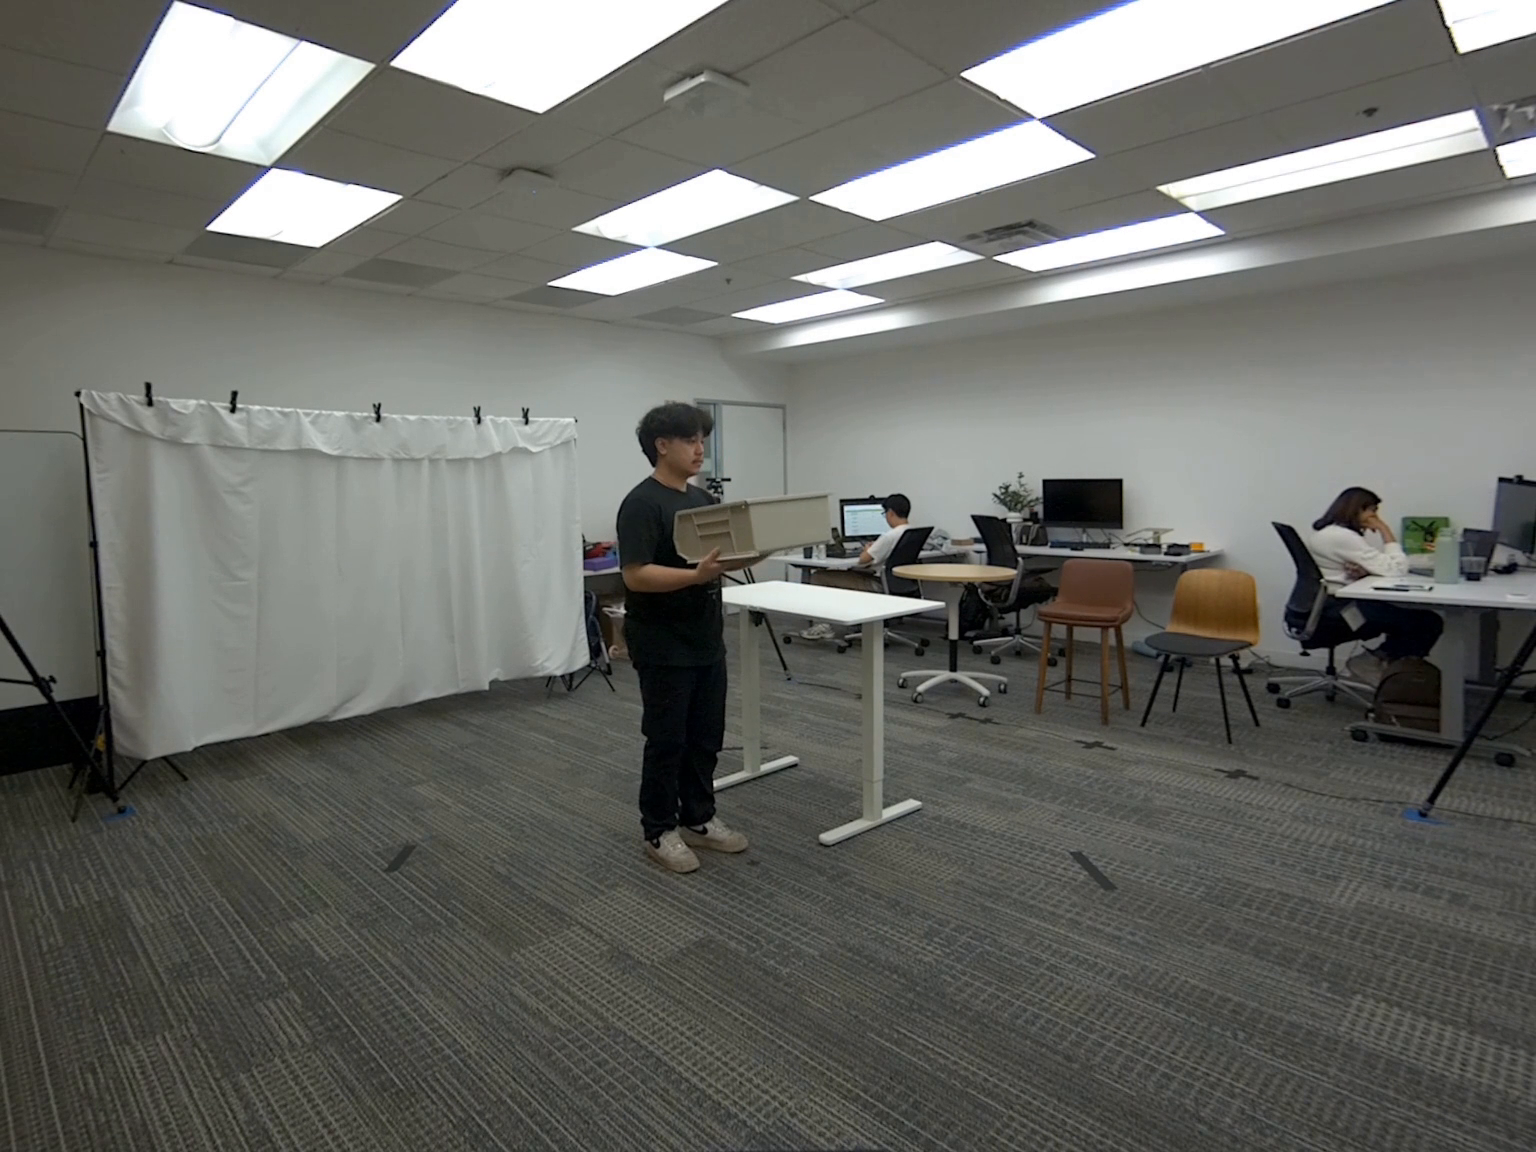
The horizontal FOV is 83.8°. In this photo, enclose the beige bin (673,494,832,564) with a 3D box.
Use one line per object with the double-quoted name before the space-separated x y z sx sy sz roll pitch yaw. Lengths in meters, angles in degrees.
"beige bin" -0.047 -0.163 2.912 0.387 0.189 0.412 -3 4 44
